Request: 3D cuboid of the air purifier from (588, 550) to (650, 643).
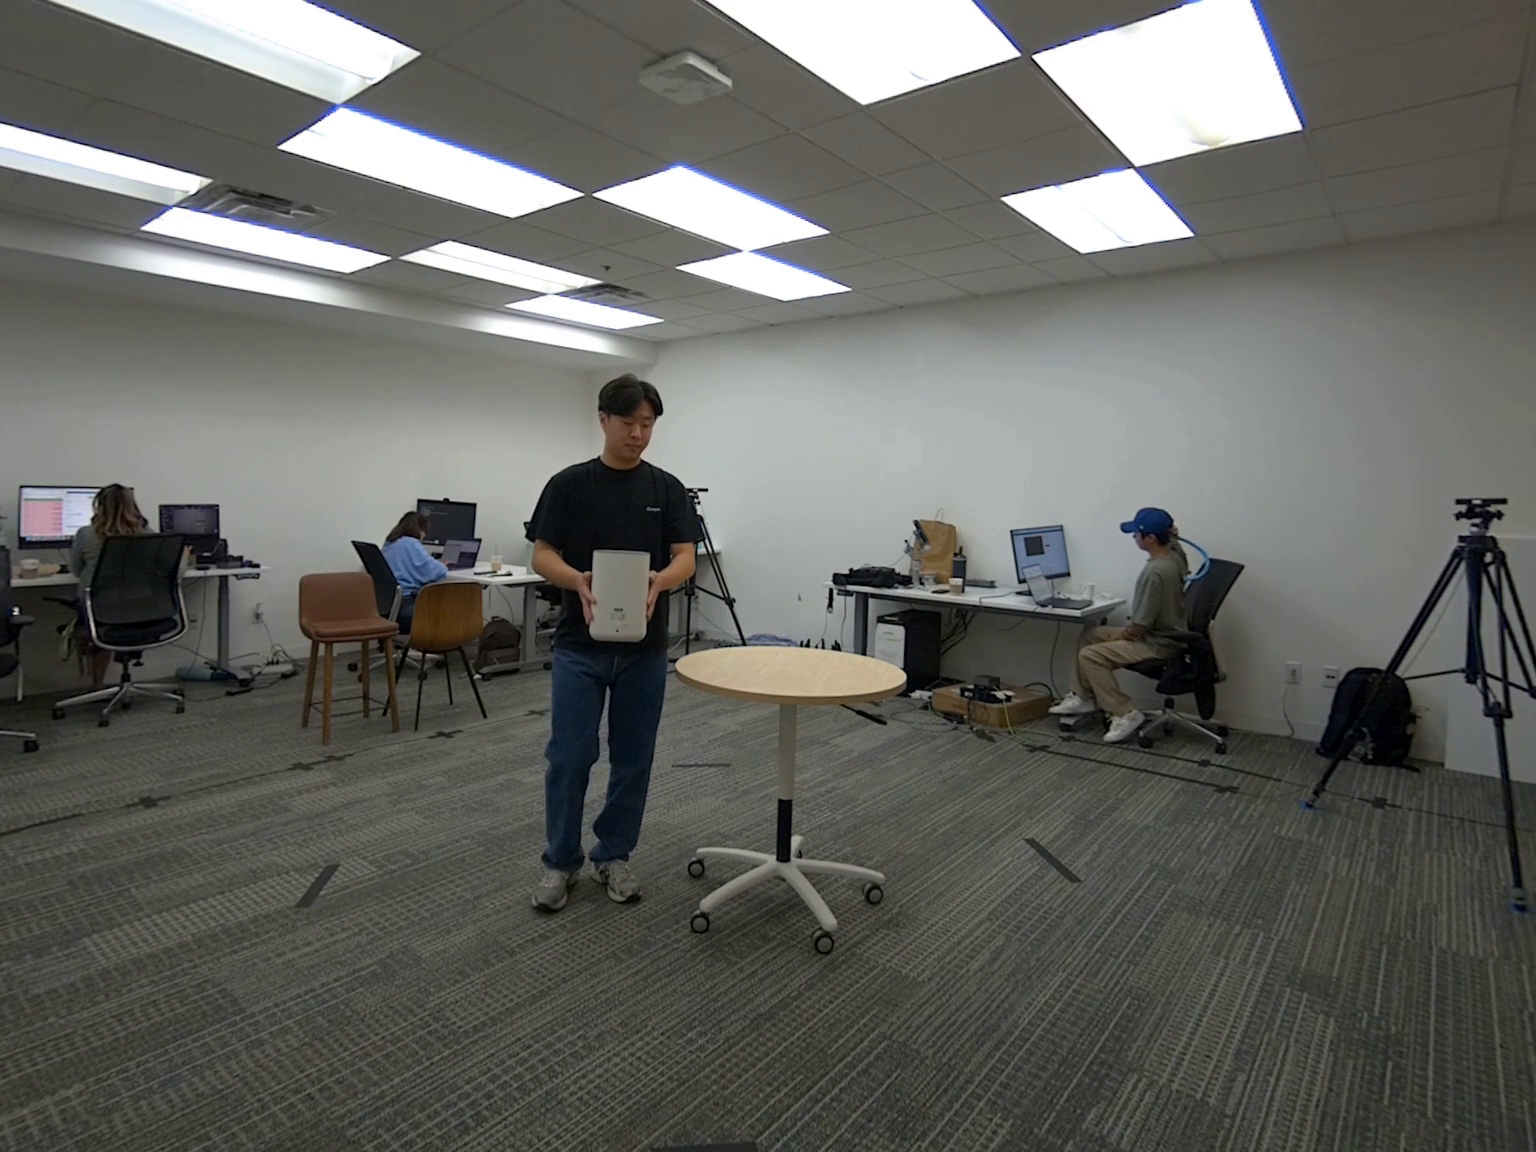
[{"bbox_3d":[-0.463,0.059,2.563,0.170,0.265,0.173,1,1,-8],"label":"air purifier"}]
